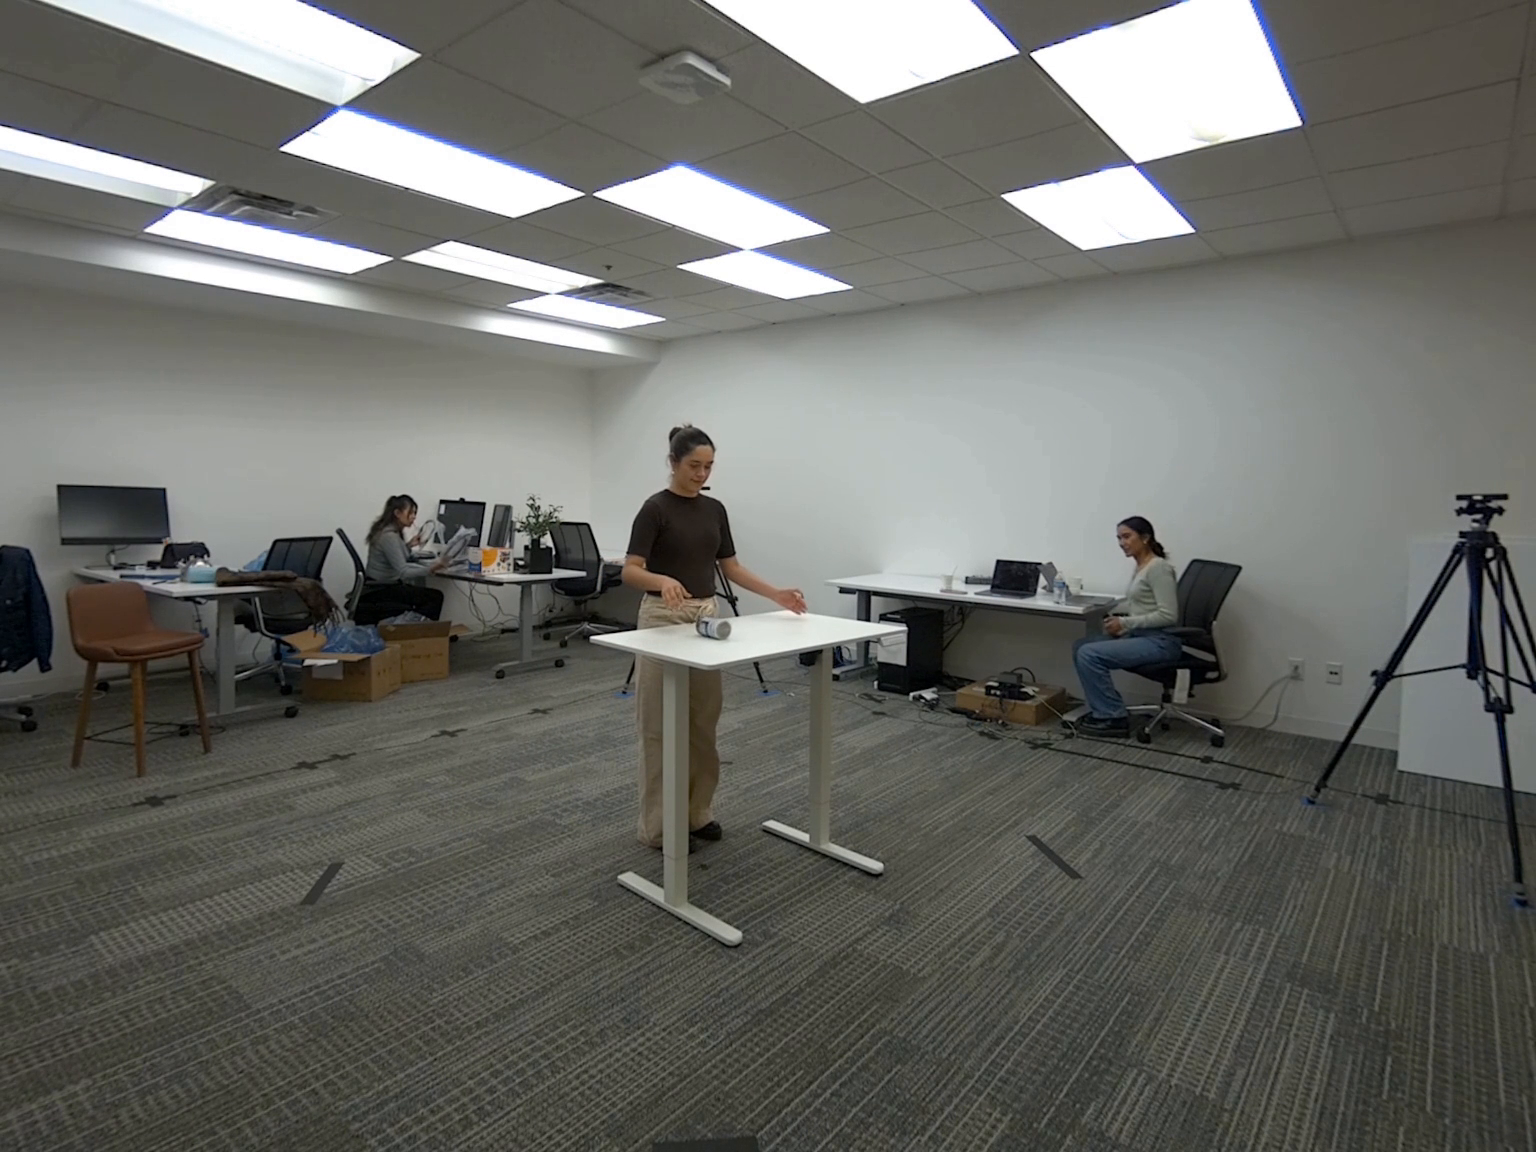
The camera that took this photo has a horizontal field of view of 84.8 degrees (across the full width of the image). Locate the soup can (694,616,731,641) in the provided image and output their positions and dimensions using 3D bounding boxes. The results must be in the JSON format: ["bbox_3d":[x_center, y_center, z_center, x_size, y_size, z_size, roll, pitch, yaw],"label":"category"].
[{"bbox_3d":[-0.194,0.171,2.880,0.065,0.067,0.125,-3,4,-38],"label":"soup can"}]
